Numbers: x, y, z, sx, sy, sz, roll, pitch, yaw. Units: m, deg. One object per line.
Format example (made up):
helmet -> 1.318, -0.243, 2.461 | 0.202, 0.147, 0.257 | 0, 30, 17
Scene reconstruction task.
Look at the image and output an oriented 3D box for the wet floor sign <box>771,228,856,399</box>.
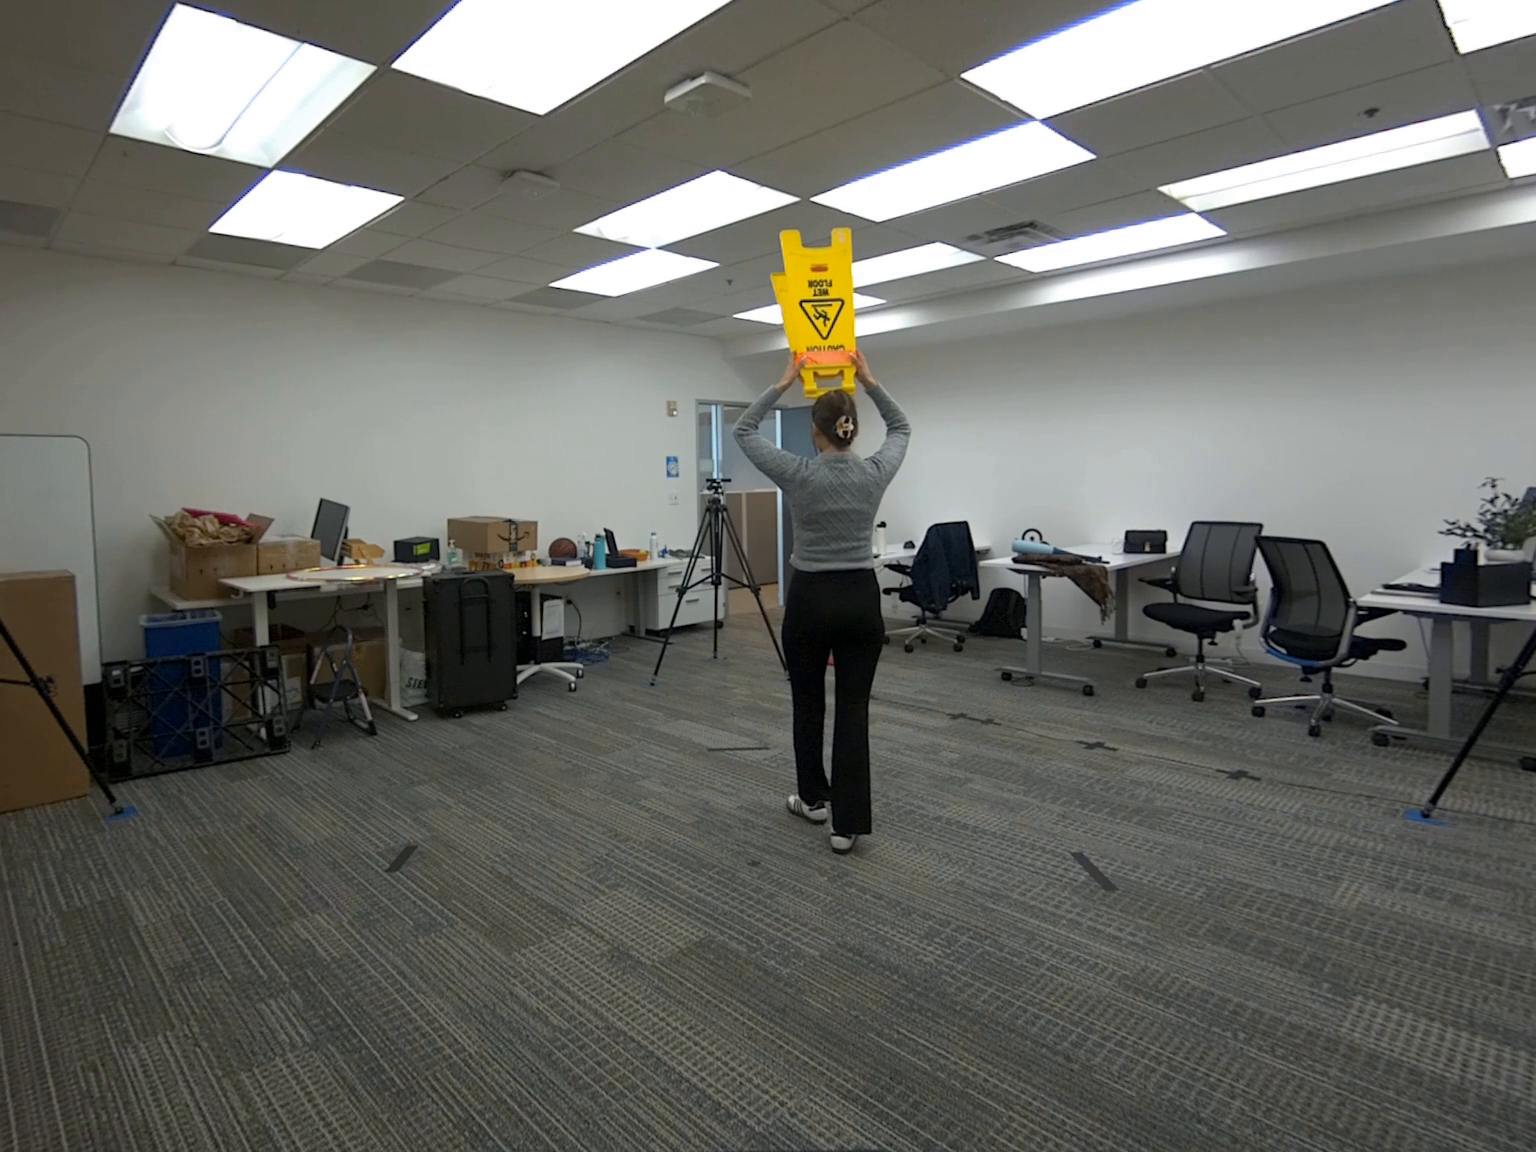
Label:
wet floor sign -> 0.208, -0.998, 3.359 | 0.281, 0.657, 0.286 | -4, -16, -6
